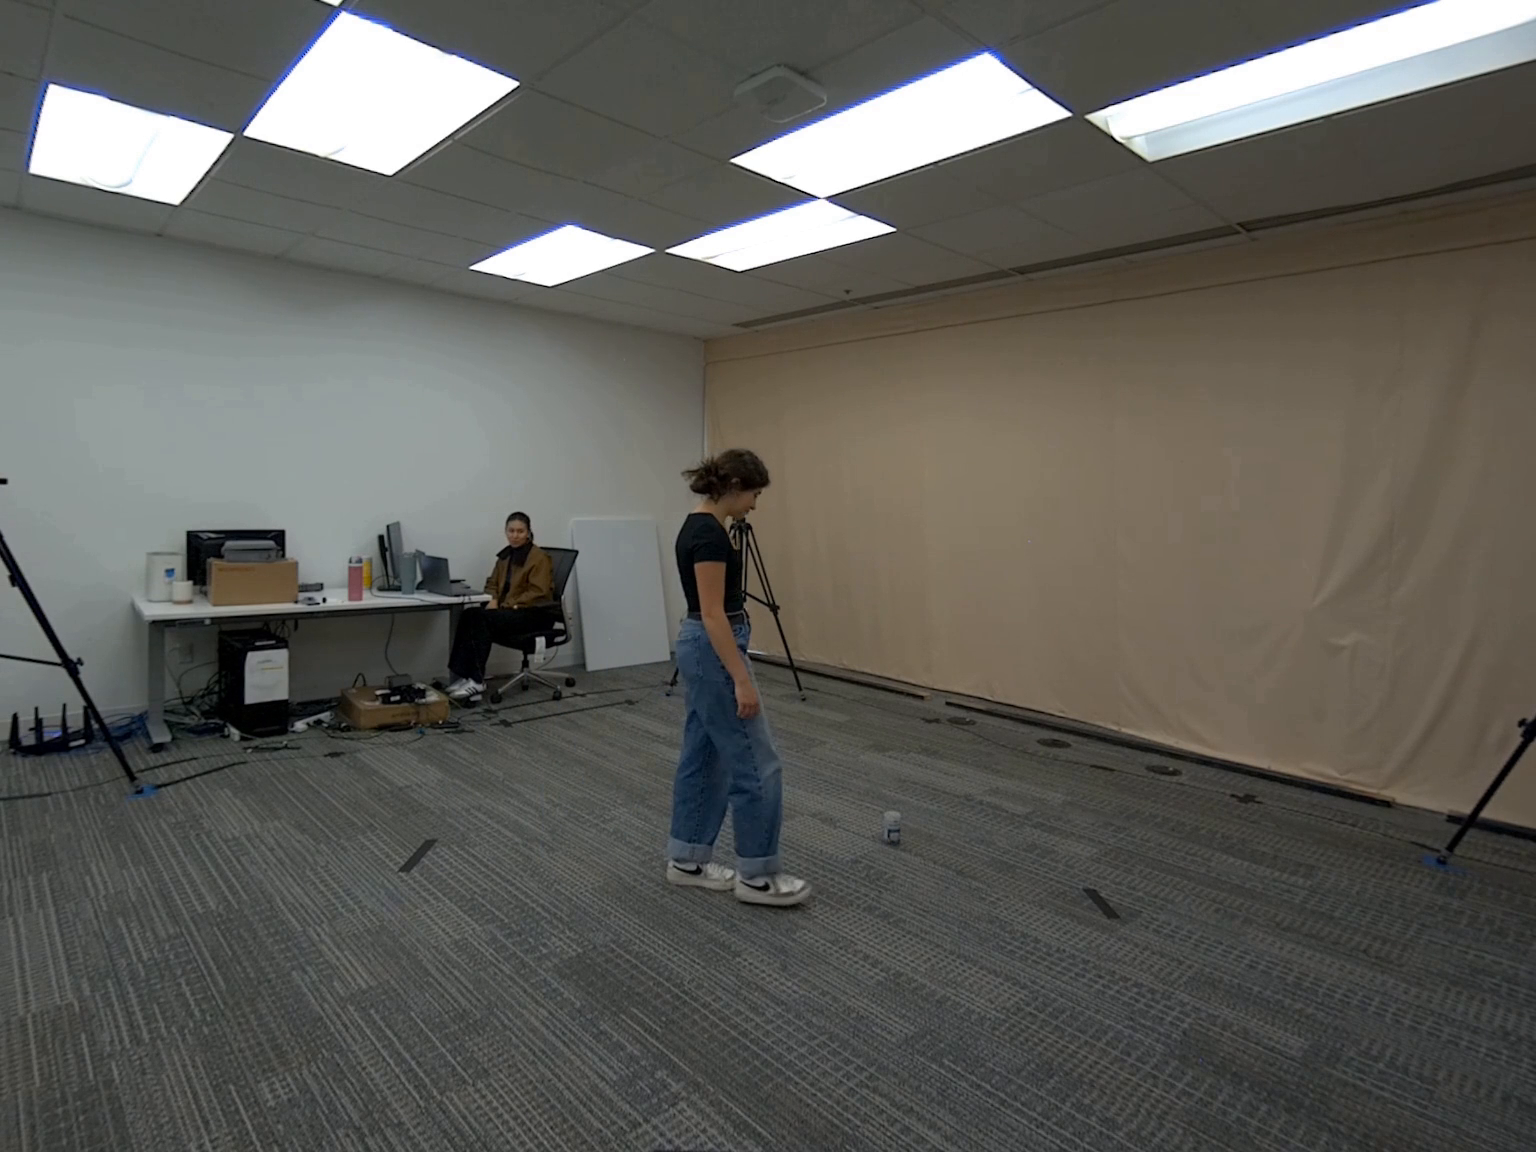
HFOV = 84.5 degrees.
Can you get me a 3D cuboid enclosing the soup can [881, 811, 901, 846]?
[{"bbox_3d":[0.501,1.032,3.449,0.067,0.121,0.067,2,3,-2],"label":"soup can"}]
